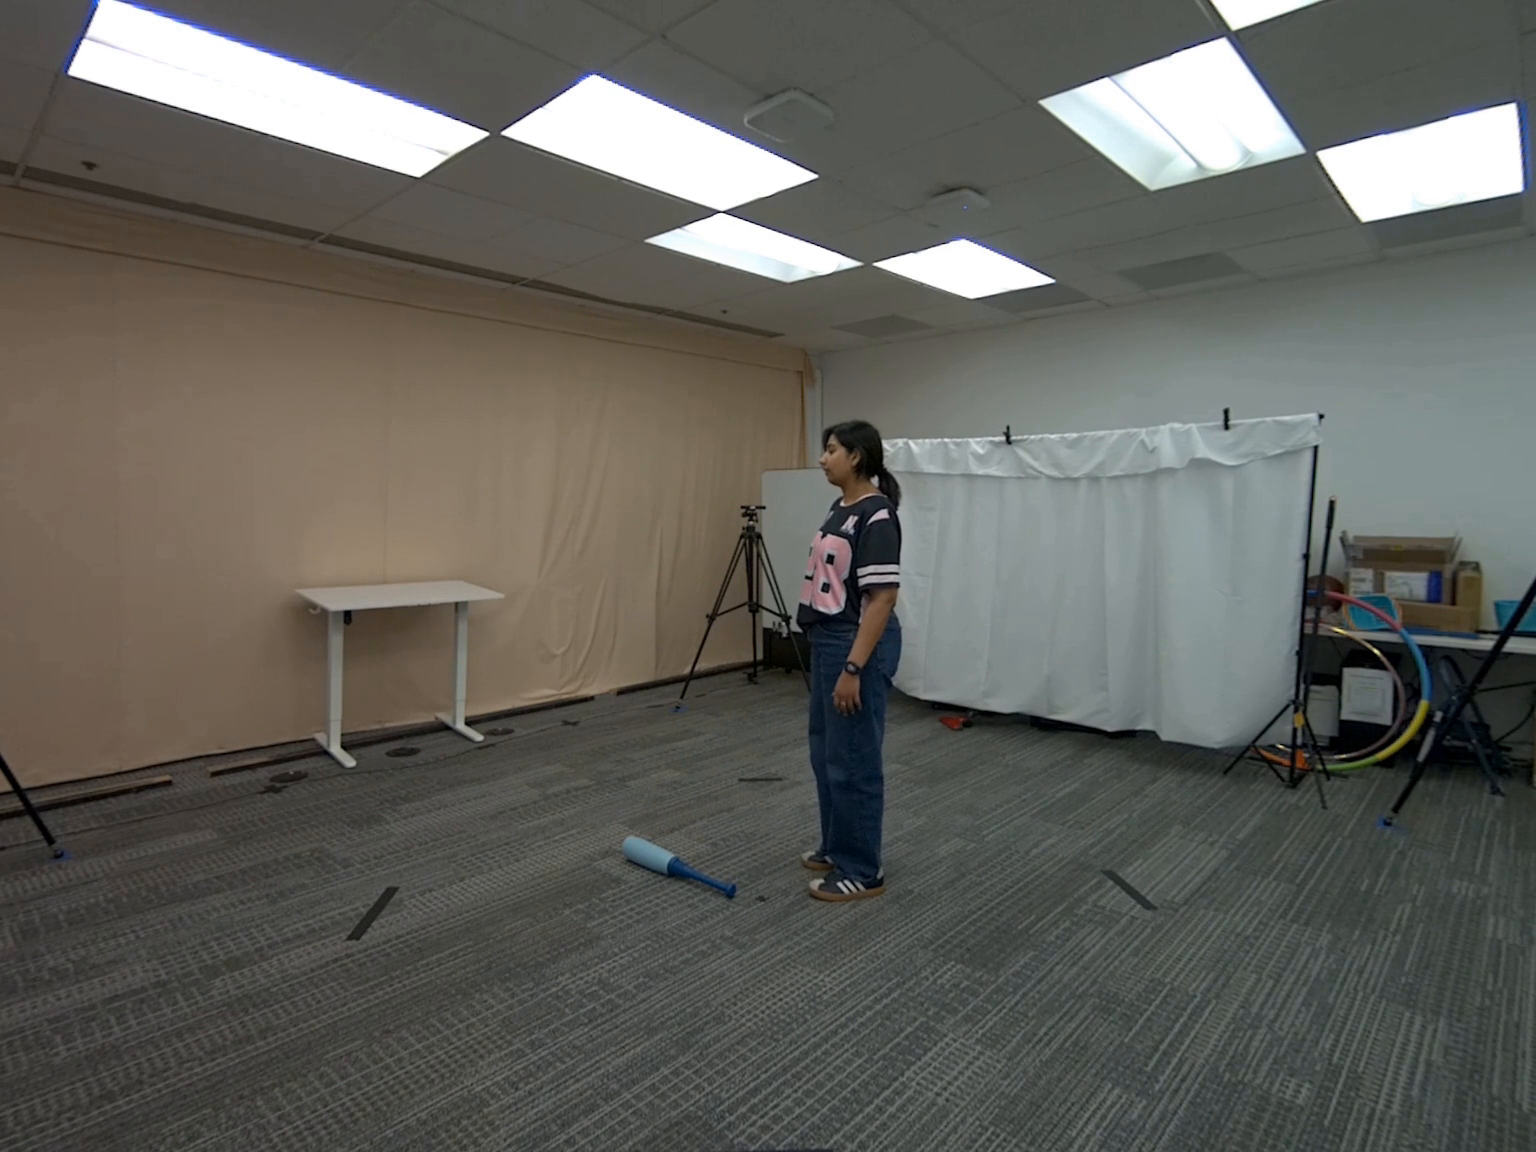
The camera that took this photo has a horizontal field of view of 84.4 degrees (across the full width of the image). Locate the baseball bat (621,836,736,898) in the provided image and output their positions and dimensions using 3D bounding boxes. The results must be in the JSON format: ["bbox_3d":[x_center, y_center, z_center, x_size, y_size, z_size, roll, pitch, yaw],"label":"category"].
[{"bbox_3d":[-0.340,1.100,3.160,0.561,0.089,0.086,6,7,39],"label":"baseball bat"}]
